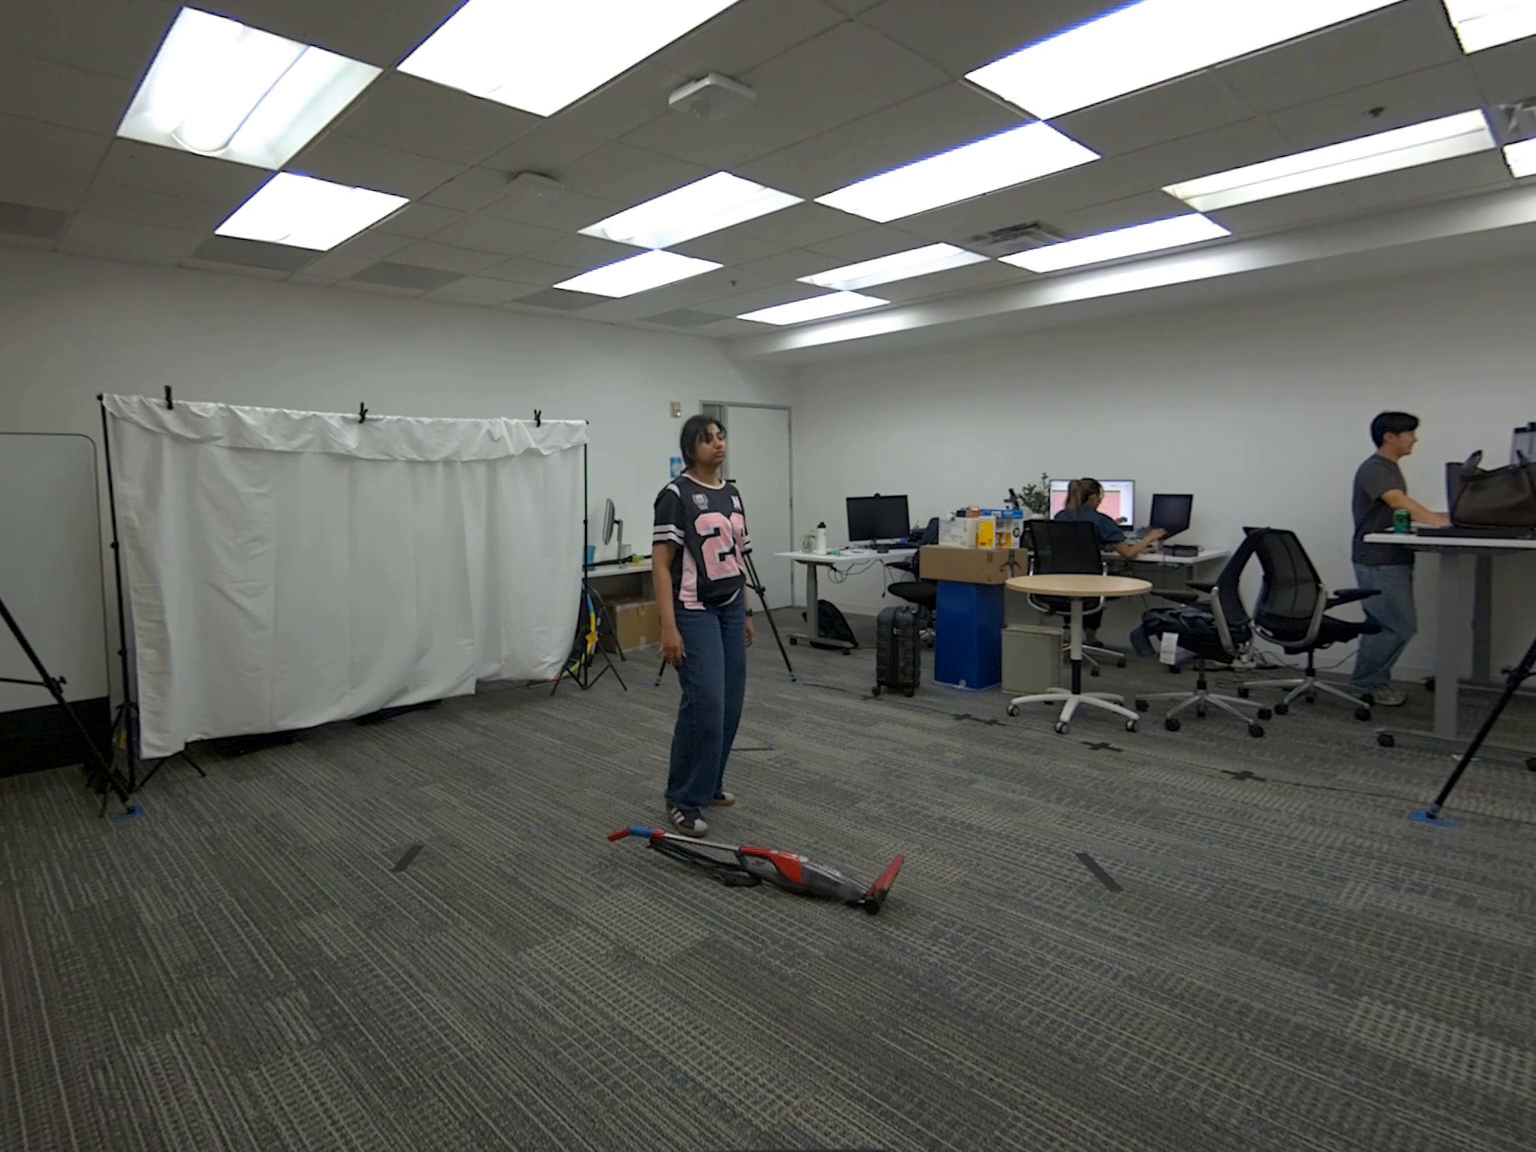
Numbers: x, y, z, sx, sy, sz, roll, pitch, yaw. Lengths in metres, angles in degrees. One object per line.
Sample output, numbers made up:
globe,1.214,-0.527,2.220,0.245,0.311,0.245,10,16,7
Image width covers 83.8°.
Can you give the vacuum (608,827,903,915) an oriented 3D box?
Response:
vacuum,-0.099,0.997,2.984,1.072,0.143,0.248,1,6,24
